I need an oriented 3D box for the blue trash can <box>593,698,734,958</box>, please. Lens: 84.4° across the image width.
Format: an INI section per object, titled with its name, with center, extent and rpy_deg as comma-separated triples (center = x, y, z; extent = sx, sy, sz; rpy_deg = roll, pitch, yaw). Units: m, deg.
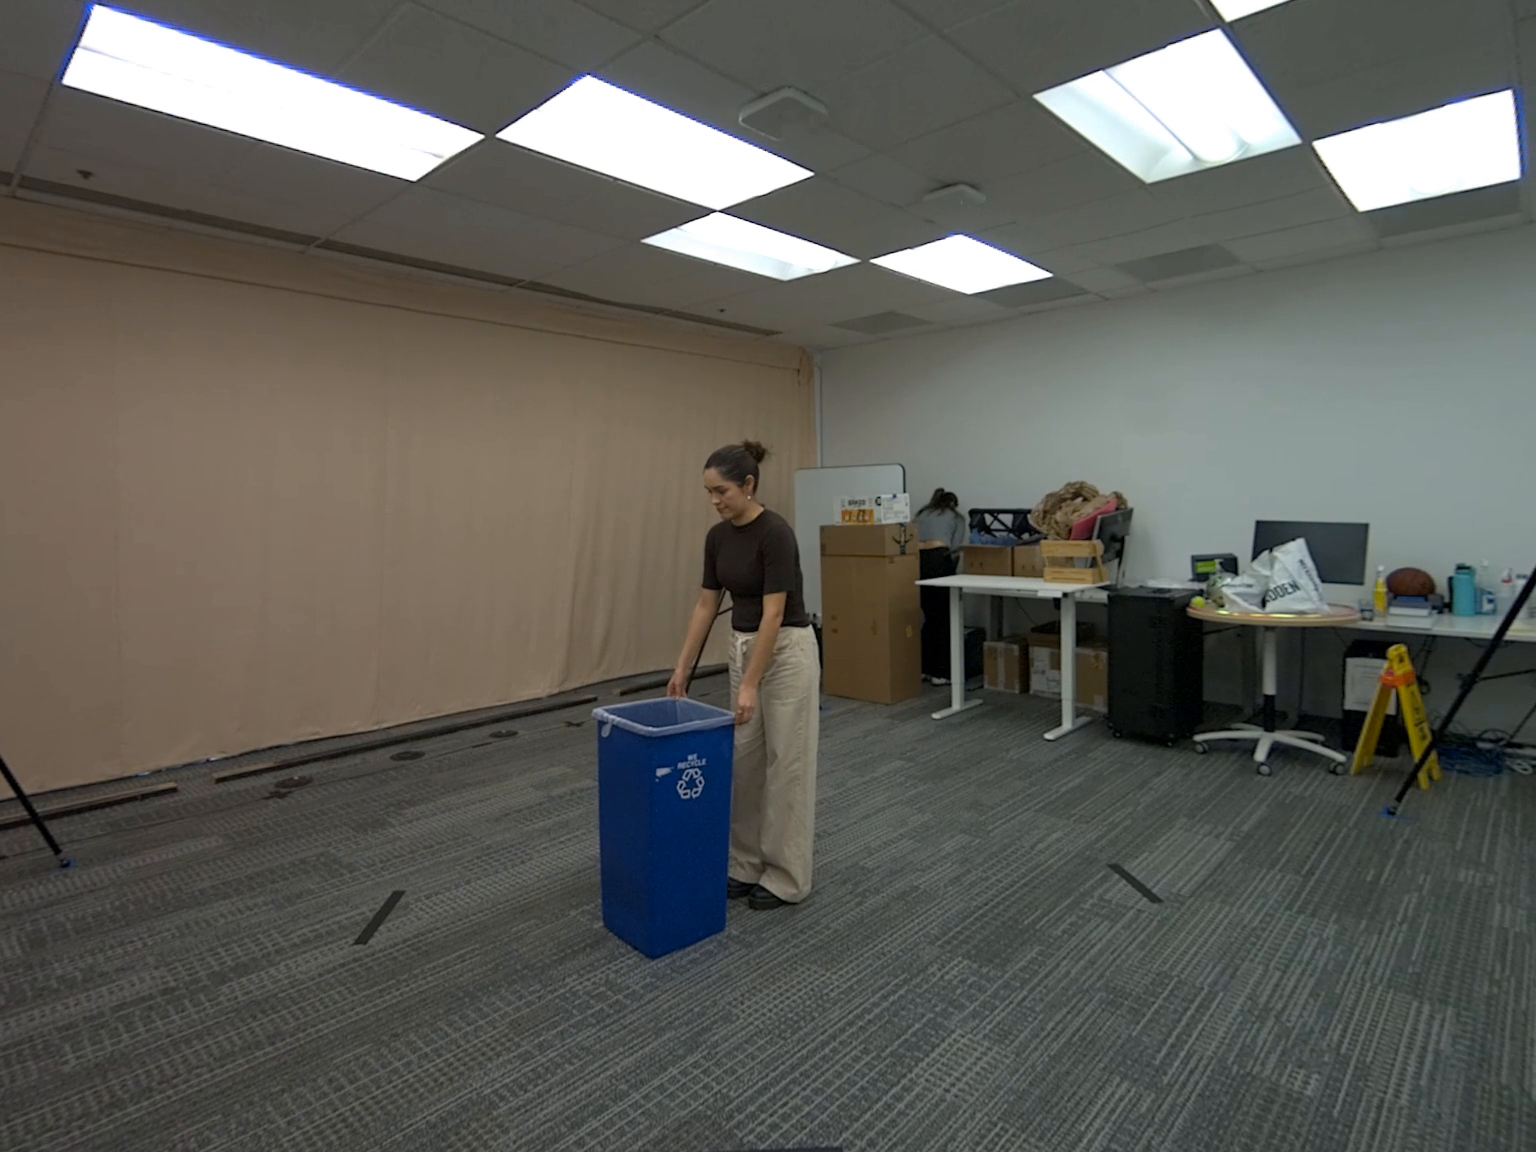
[blue trash can]
center = -0.340, 0.802, 2.779
extent = 0.362, 0.712, 0.390
rpy_deg = -1, 3, -41
